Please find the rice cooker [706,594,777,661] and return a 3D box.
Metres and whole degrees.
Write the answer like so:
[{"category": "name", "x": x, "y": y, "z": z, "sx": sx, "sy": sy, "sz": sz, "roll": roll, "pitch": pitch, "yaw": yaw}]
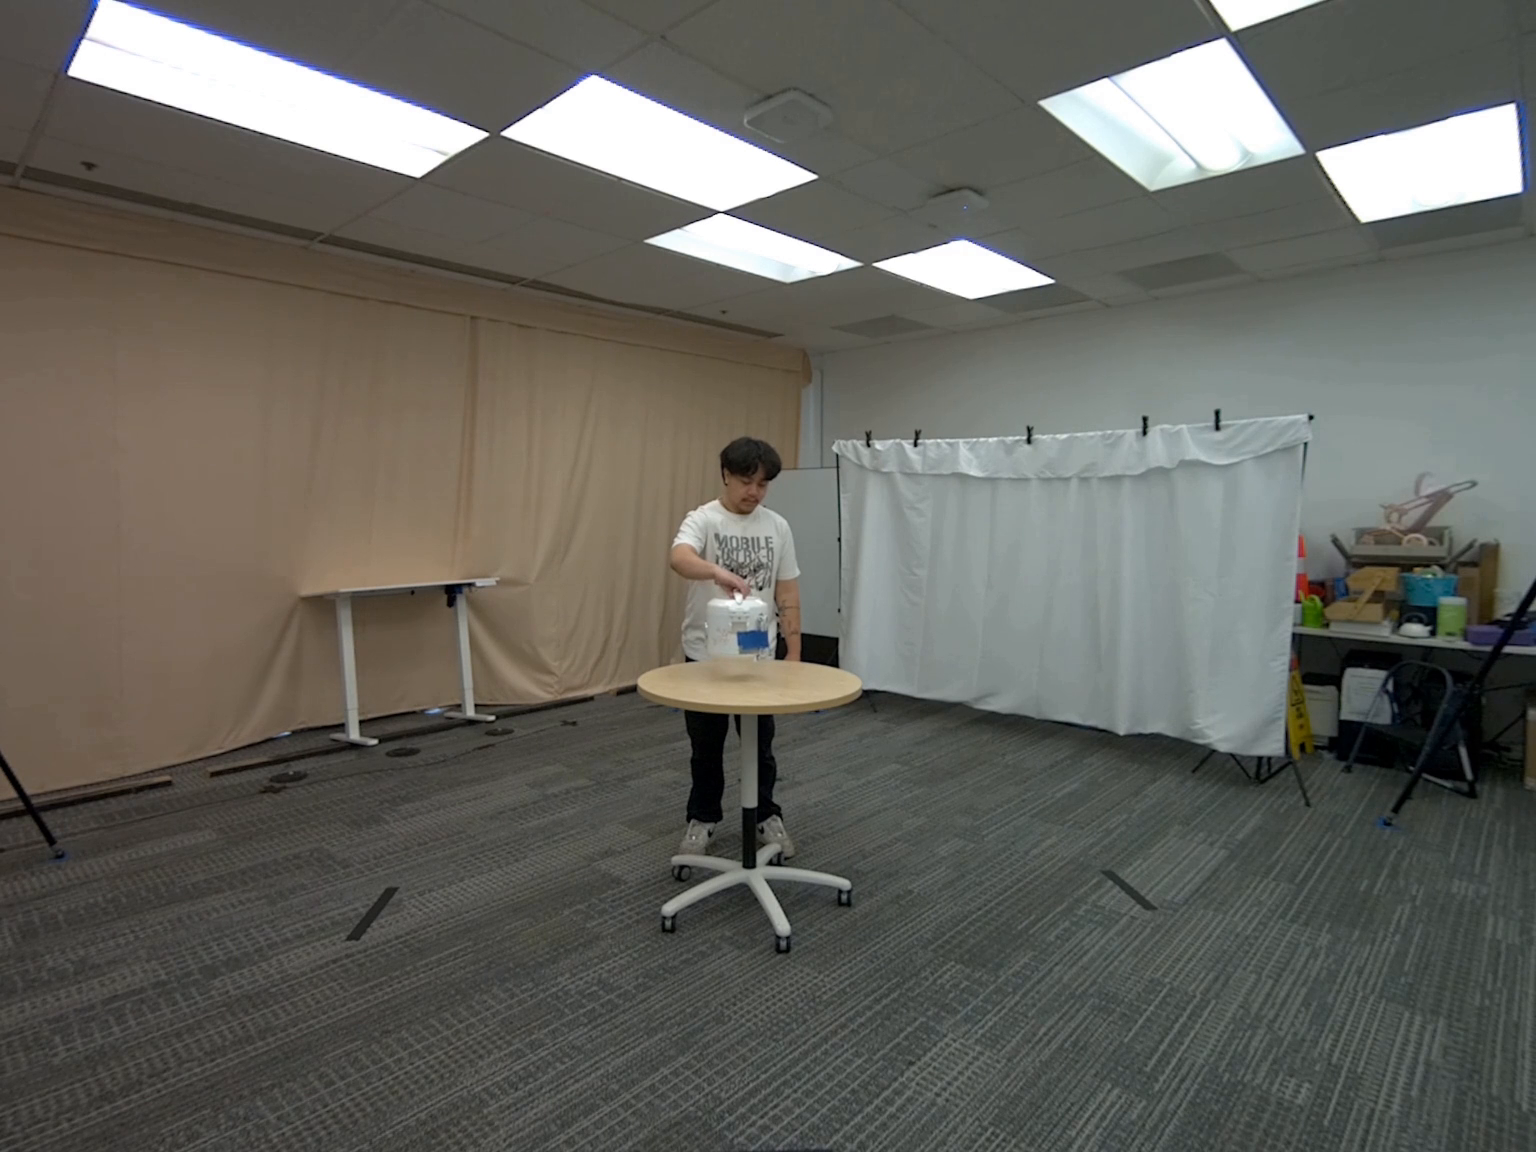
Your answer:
[{"category": "rice cooker", "x": -0.105, "y": 0.168, "z": 2.875, "sx": 0.217, "sy": 0.232, "sz": 0.222, "roll": -1, "pitch": 3, "yaw": -4}]
